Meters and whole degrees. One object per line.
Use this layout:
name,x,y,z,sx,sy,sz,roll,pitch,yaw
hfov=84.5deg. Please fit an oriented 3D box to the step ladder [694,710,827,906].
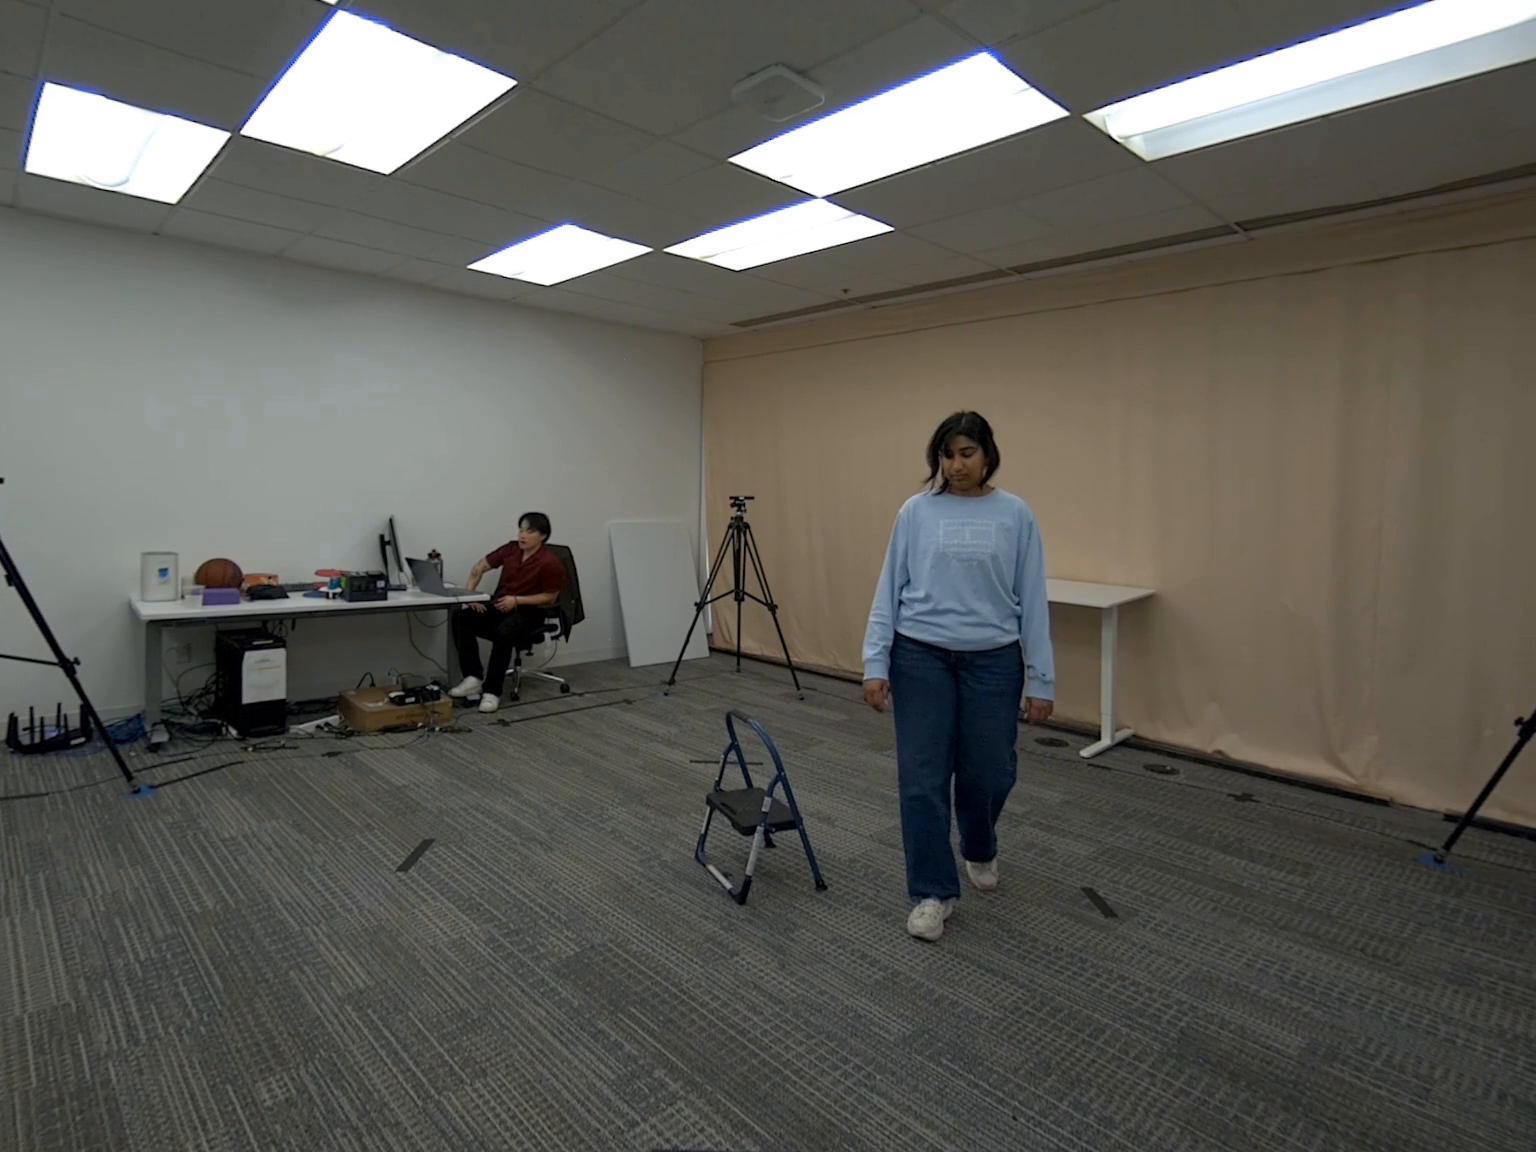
step ladder,-0.038,0.802,3.114,0.343,0.605,0.440,0,4,-27
